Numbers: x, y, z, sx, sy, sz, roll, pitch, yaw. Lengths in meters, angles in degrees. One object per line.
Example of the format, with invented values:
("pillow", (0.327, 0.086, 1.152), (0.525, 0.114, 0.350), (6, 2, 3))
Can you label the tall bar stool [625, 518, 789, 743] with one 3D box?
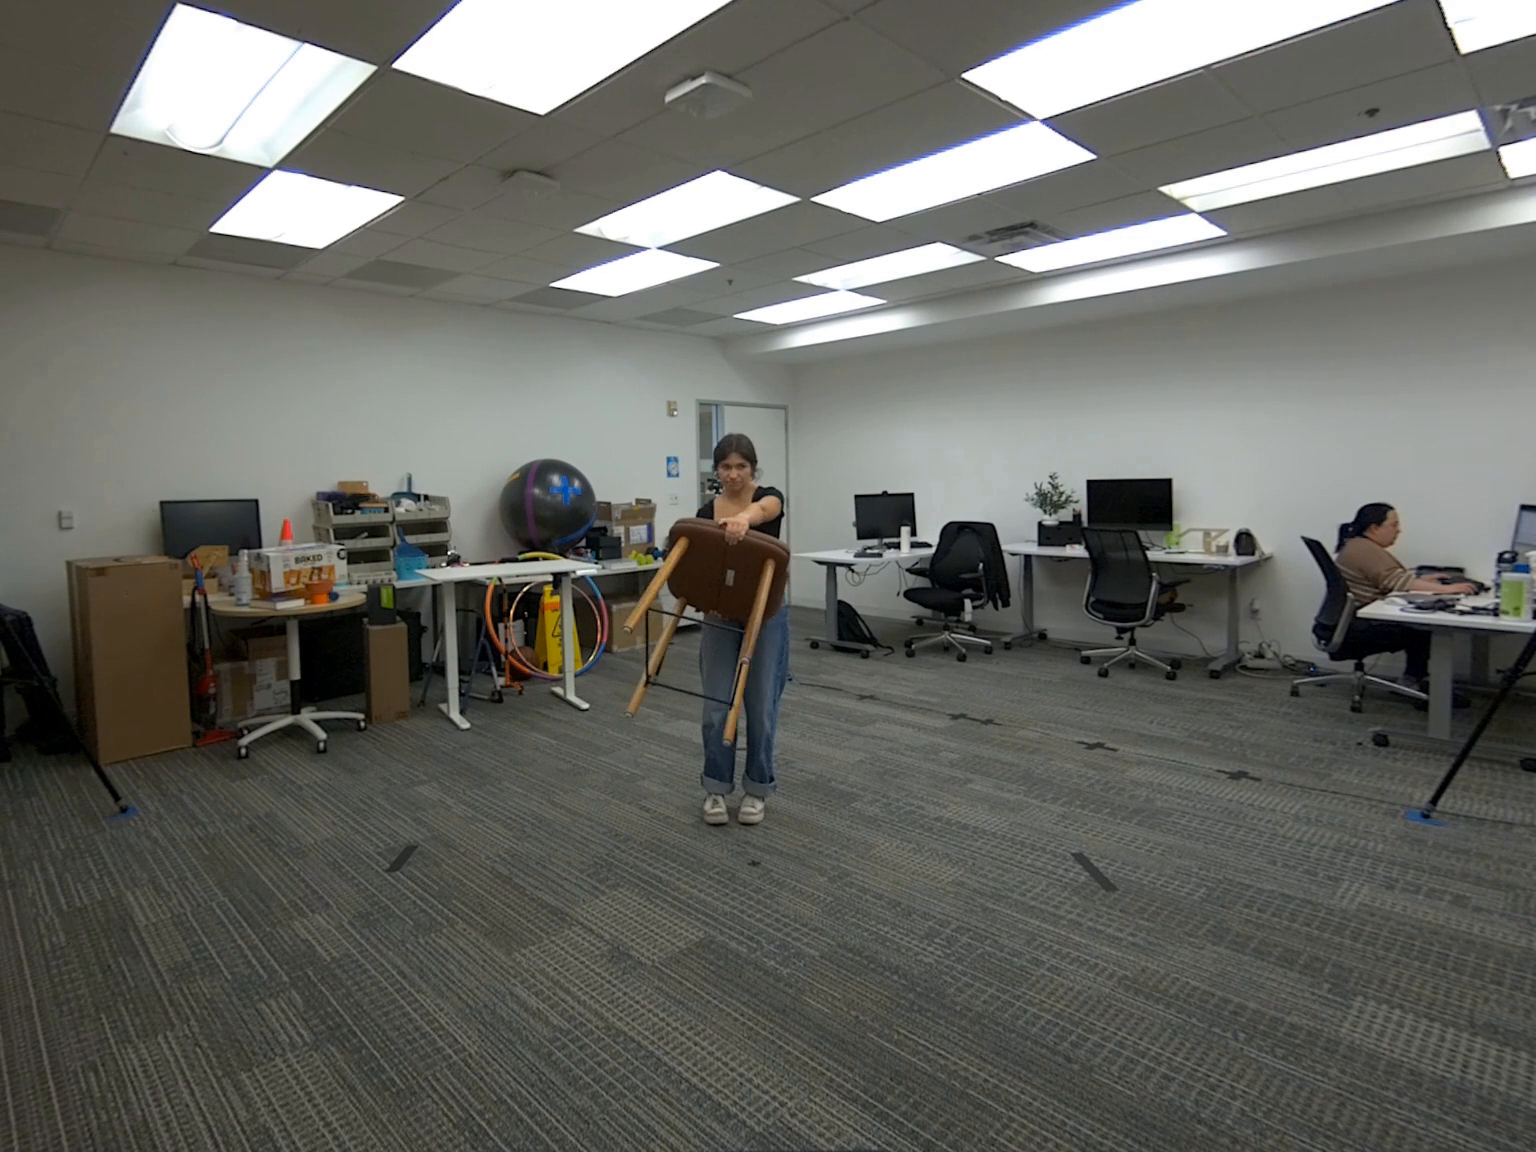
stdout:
("tall bar stool", (-0.189, 0.093, 3.076), (0.461, 0.456, 0.903), (12, 41, 7))
